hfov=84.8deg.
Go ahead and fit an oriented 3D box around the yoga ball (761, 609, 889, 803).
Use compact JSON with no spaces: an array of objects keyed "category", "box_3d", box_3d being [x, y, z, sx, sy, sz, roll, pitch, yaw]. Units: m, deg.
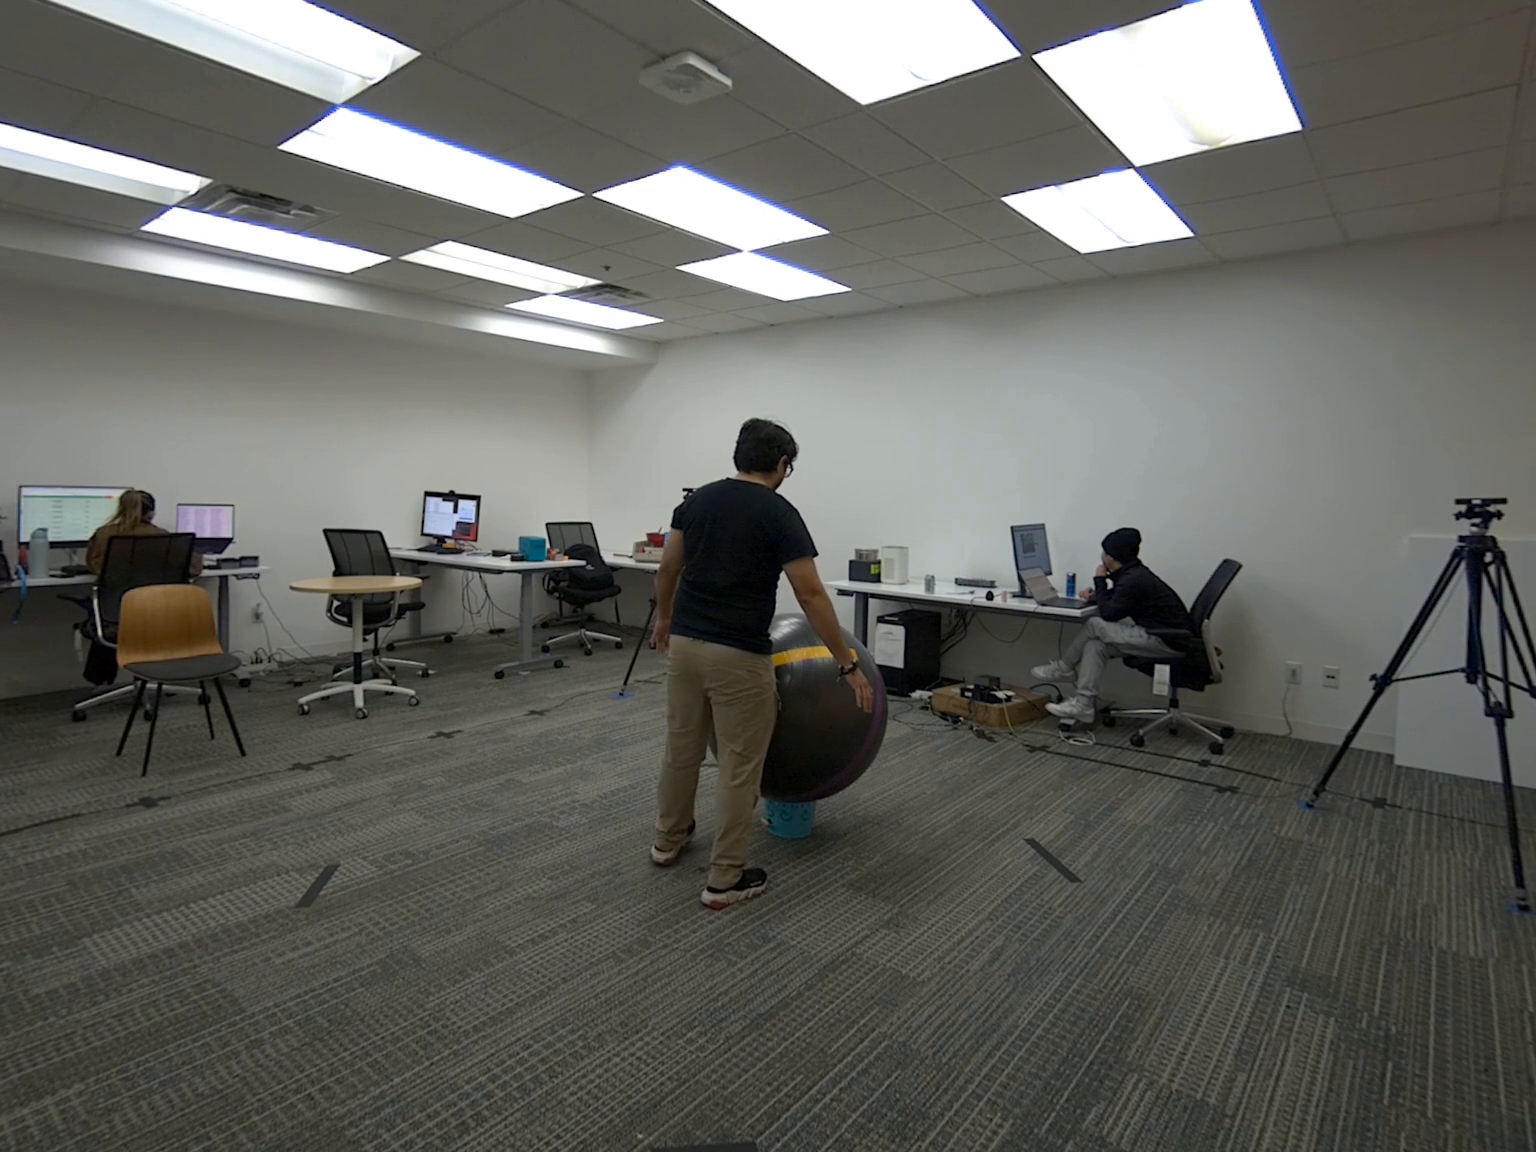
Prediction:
[{"category":"yoga ball","box_3d":[0.109,0.536,3.480,0.757,0.755,0.762,1,4,-2]}]
